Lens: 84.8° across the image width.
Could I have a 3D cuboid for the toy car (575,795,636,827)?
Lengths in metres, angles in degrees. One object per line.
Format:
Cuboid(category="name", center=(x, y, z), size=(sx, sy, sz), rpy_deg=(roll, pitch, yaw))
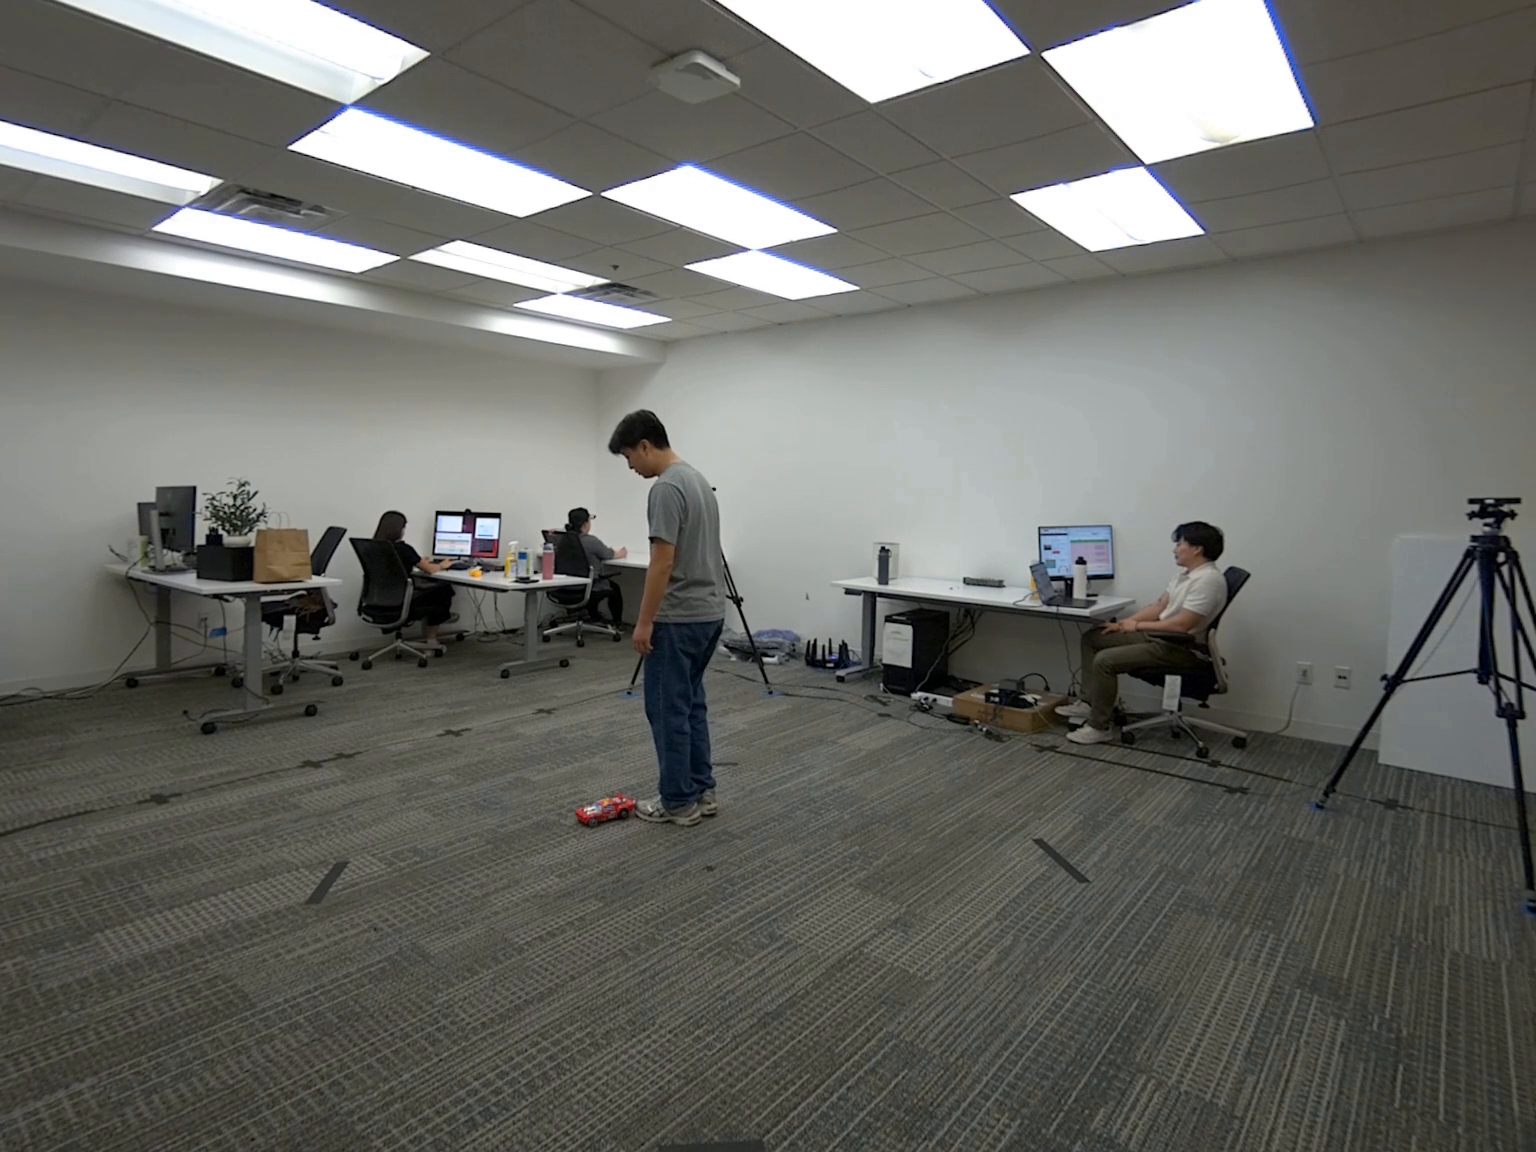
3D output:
Cuboid(category="toy car", center=(-0.689, 0.979, 3.570), size=(0.249, 0.082, 0.134), rpy_deg=(-17, 14, -35))
